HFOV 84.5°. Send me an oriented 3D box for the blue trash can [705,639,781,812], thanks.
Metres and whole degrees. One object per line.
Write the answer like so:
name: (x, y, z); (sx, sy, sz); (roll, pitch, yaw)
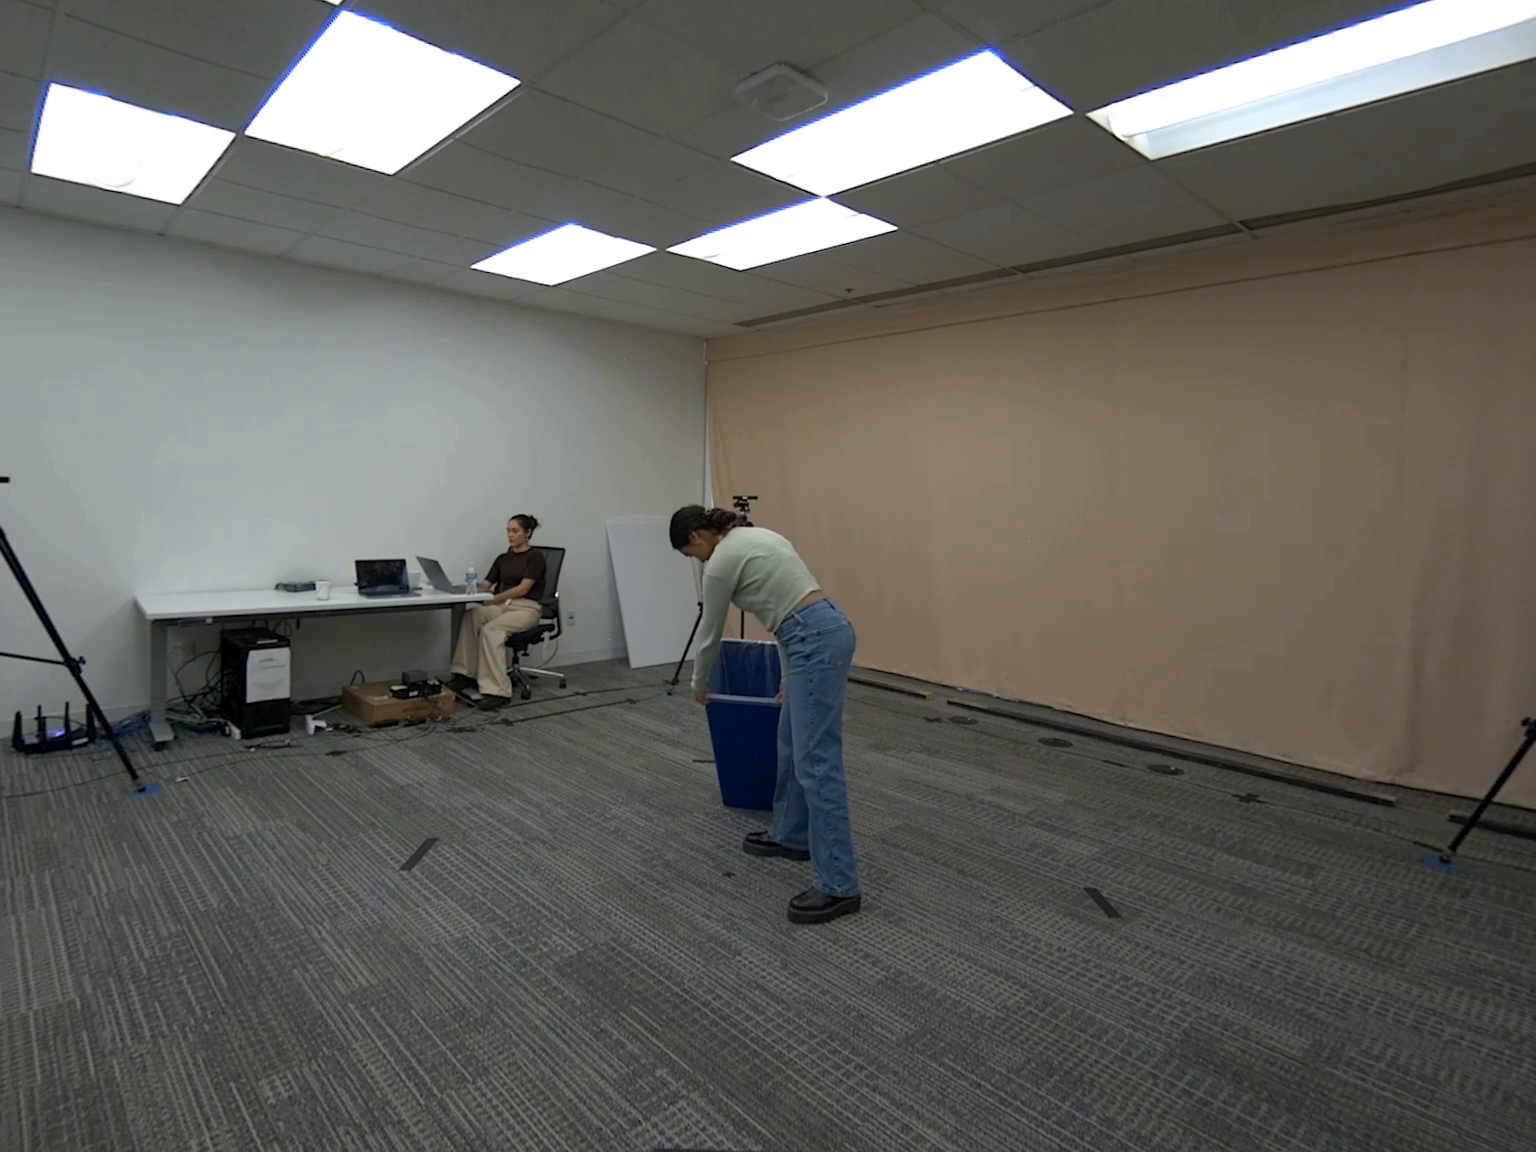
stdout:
blue trash can: (-0.068, 0.676, 3.690); (0.381, 0.698, 0.379); (1, 34, 9)
